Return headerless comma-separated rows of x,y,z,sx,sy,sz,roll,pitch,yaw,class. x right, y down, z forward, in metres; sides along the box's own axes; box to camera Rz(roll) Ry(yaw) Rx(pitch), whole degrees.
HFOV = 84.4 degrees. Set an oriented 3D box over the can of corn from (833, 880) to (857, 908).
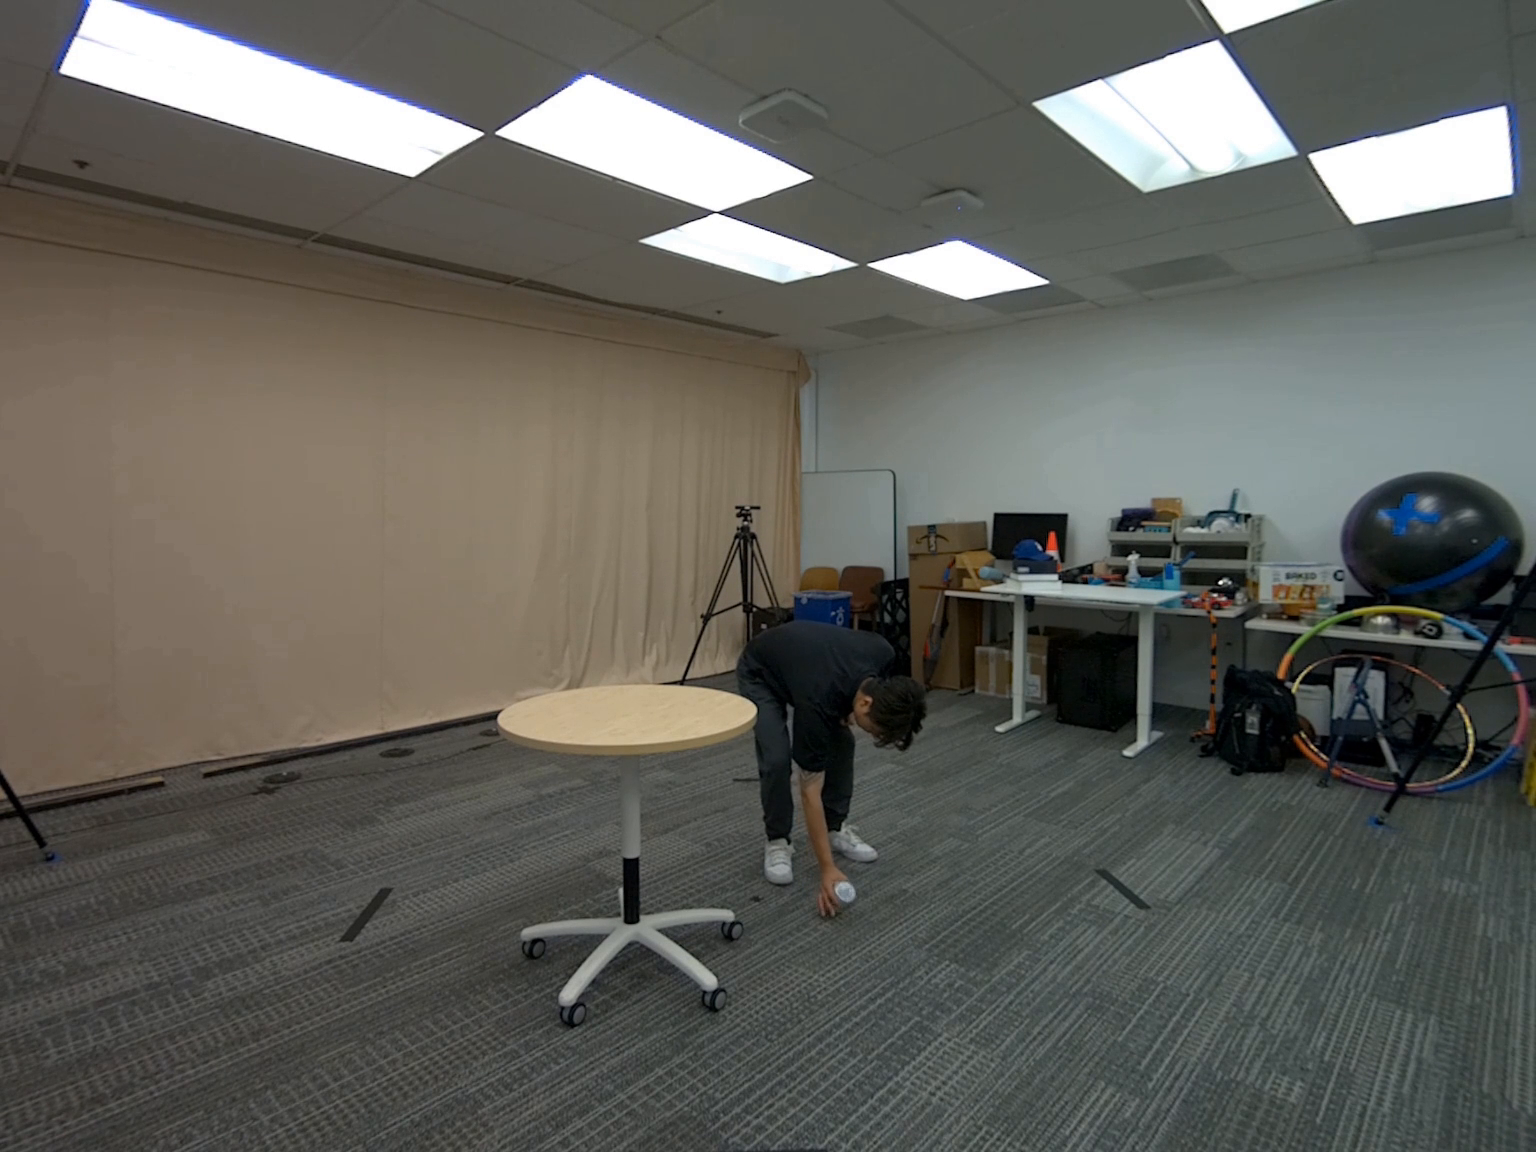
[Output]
0.240,1.084,2.860,0.074,0.109,0.075,5,41,-6,can of corn
